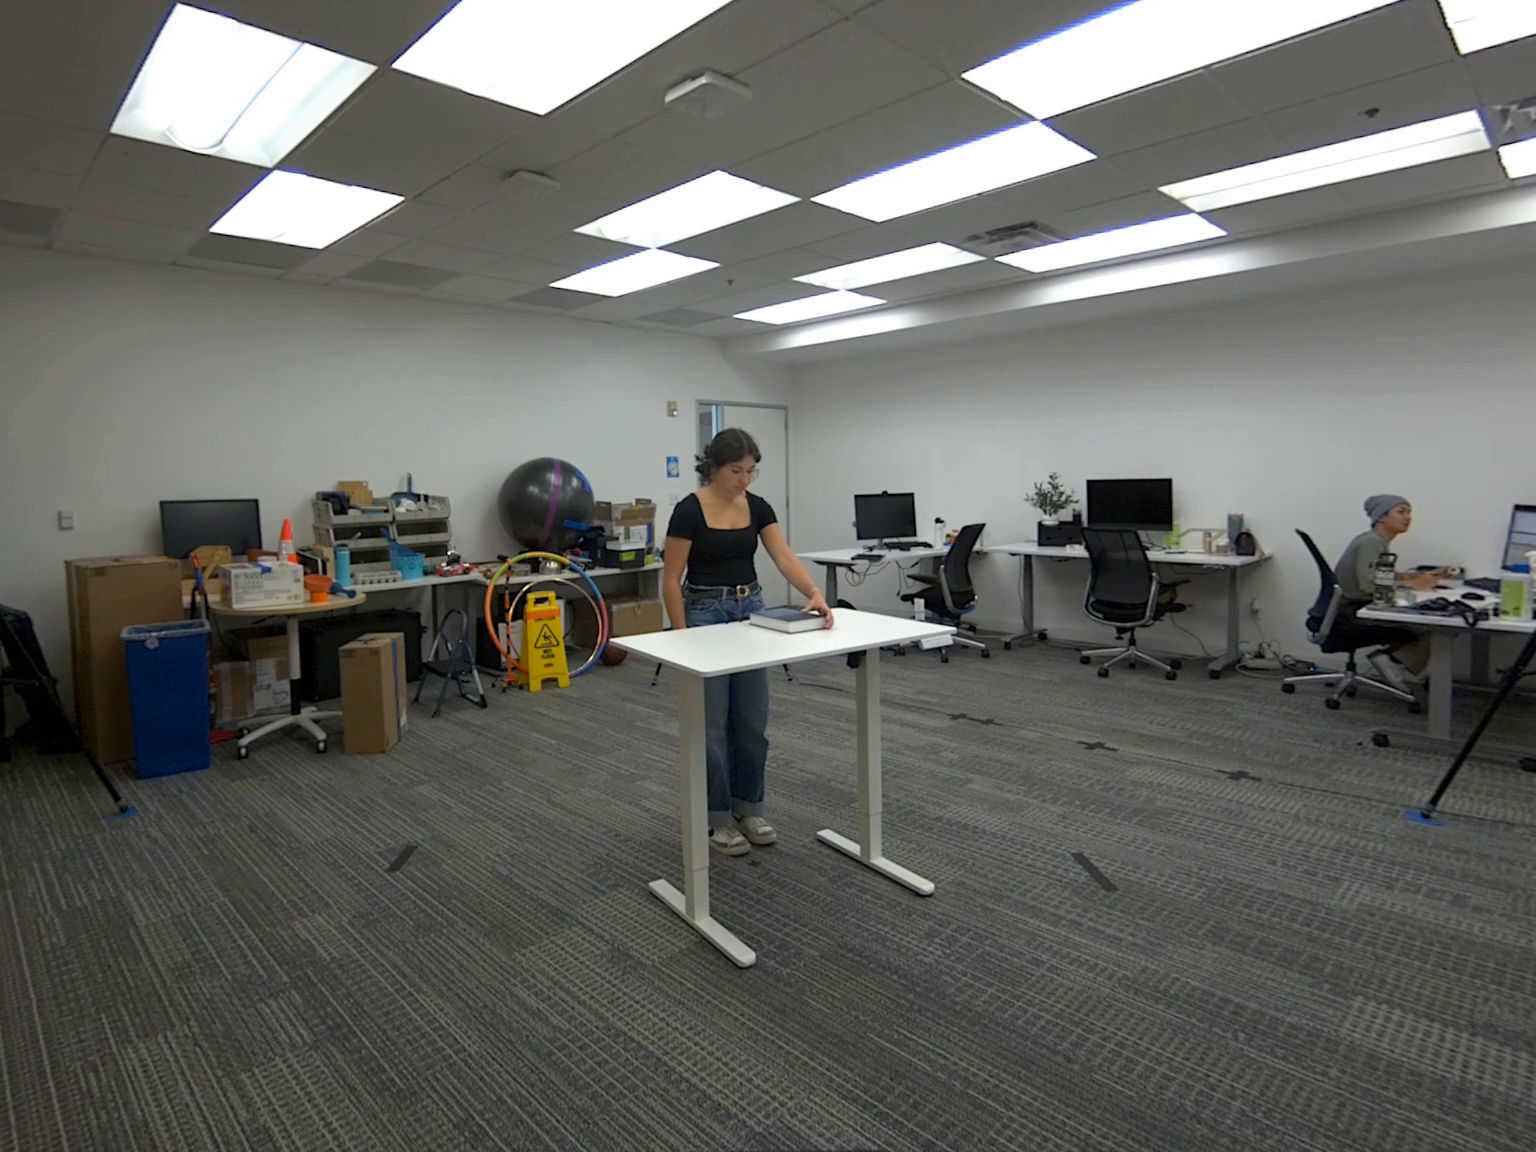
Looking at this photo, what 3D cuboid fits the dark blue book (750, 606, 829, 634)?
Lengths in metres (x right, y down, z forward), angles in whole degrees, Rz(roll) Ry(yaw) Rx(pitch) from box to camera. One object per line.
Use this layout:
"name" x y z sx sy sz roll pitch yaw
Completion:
"dark blue book" 0.059 0.158 2.962 0.159 0.045 0.252 -5 8 -34
